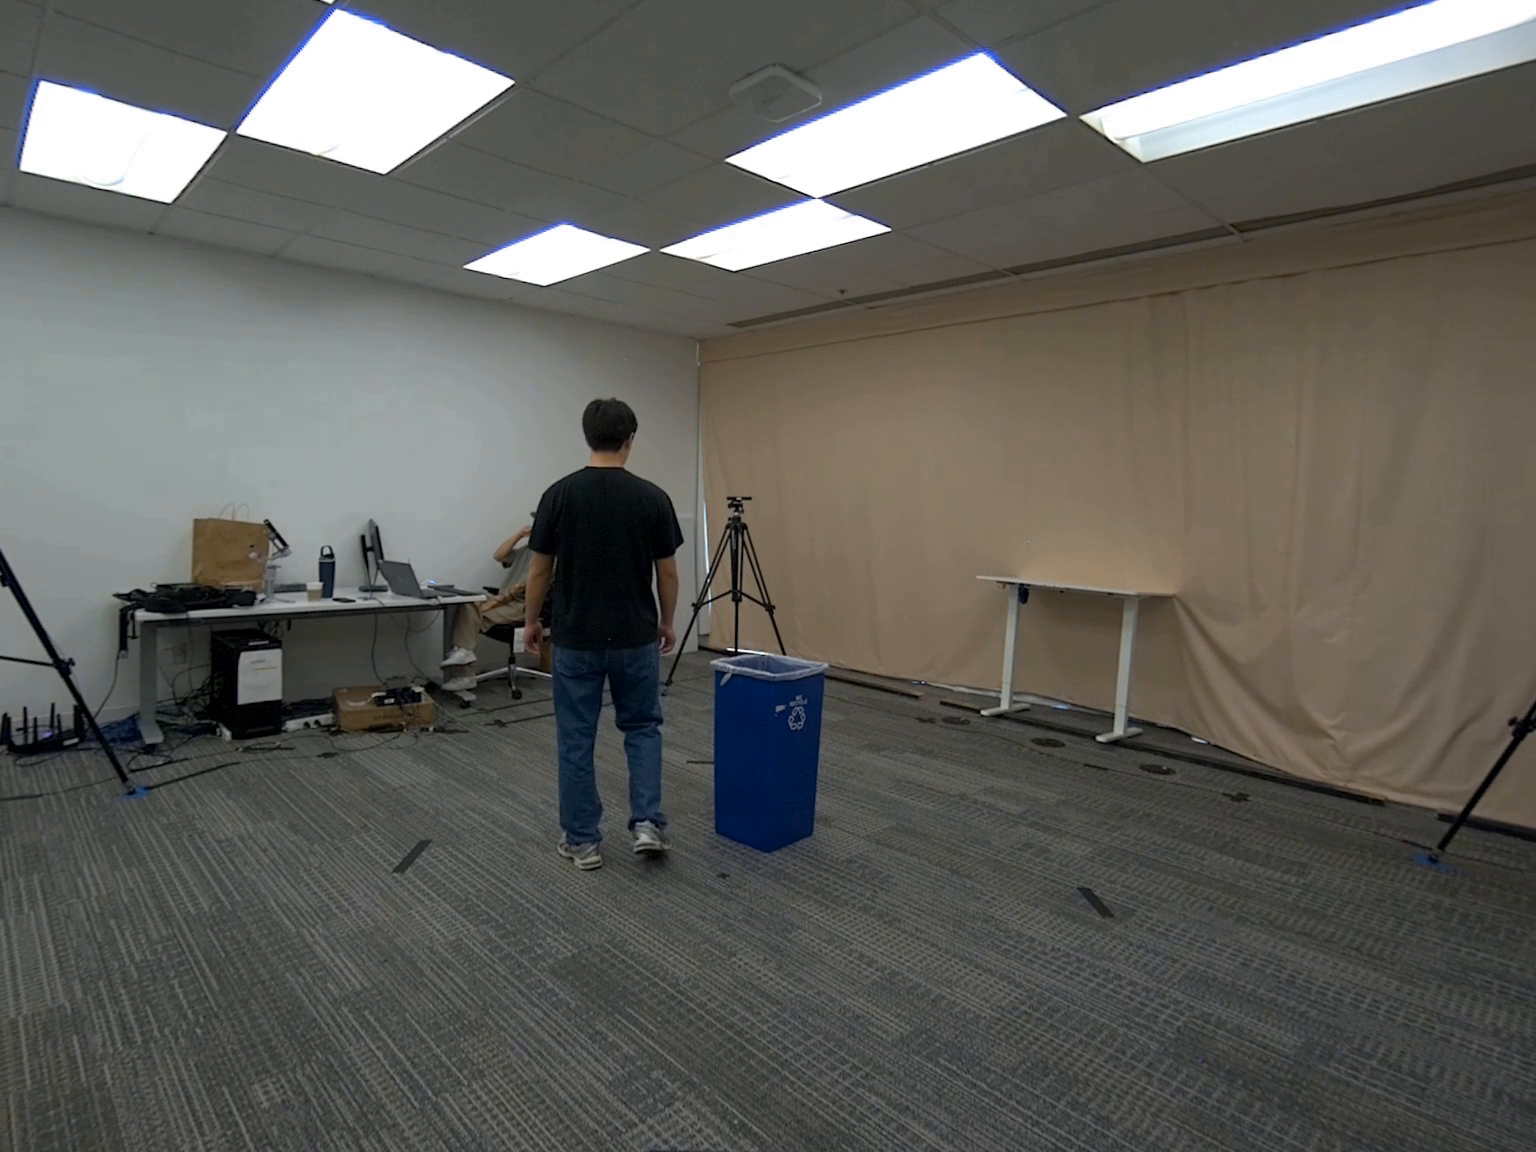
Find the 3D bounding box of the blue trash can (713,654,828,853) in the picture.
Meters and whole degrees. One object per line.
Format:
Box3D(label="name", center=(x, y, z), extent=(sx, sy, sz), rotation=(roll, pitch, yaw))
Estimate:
Box3D(label="blue trash can", center=(-0.010, 0.716, 3.506), extent=(0.388, 0.712, 0.365), rotation=(5, 5, 41))
